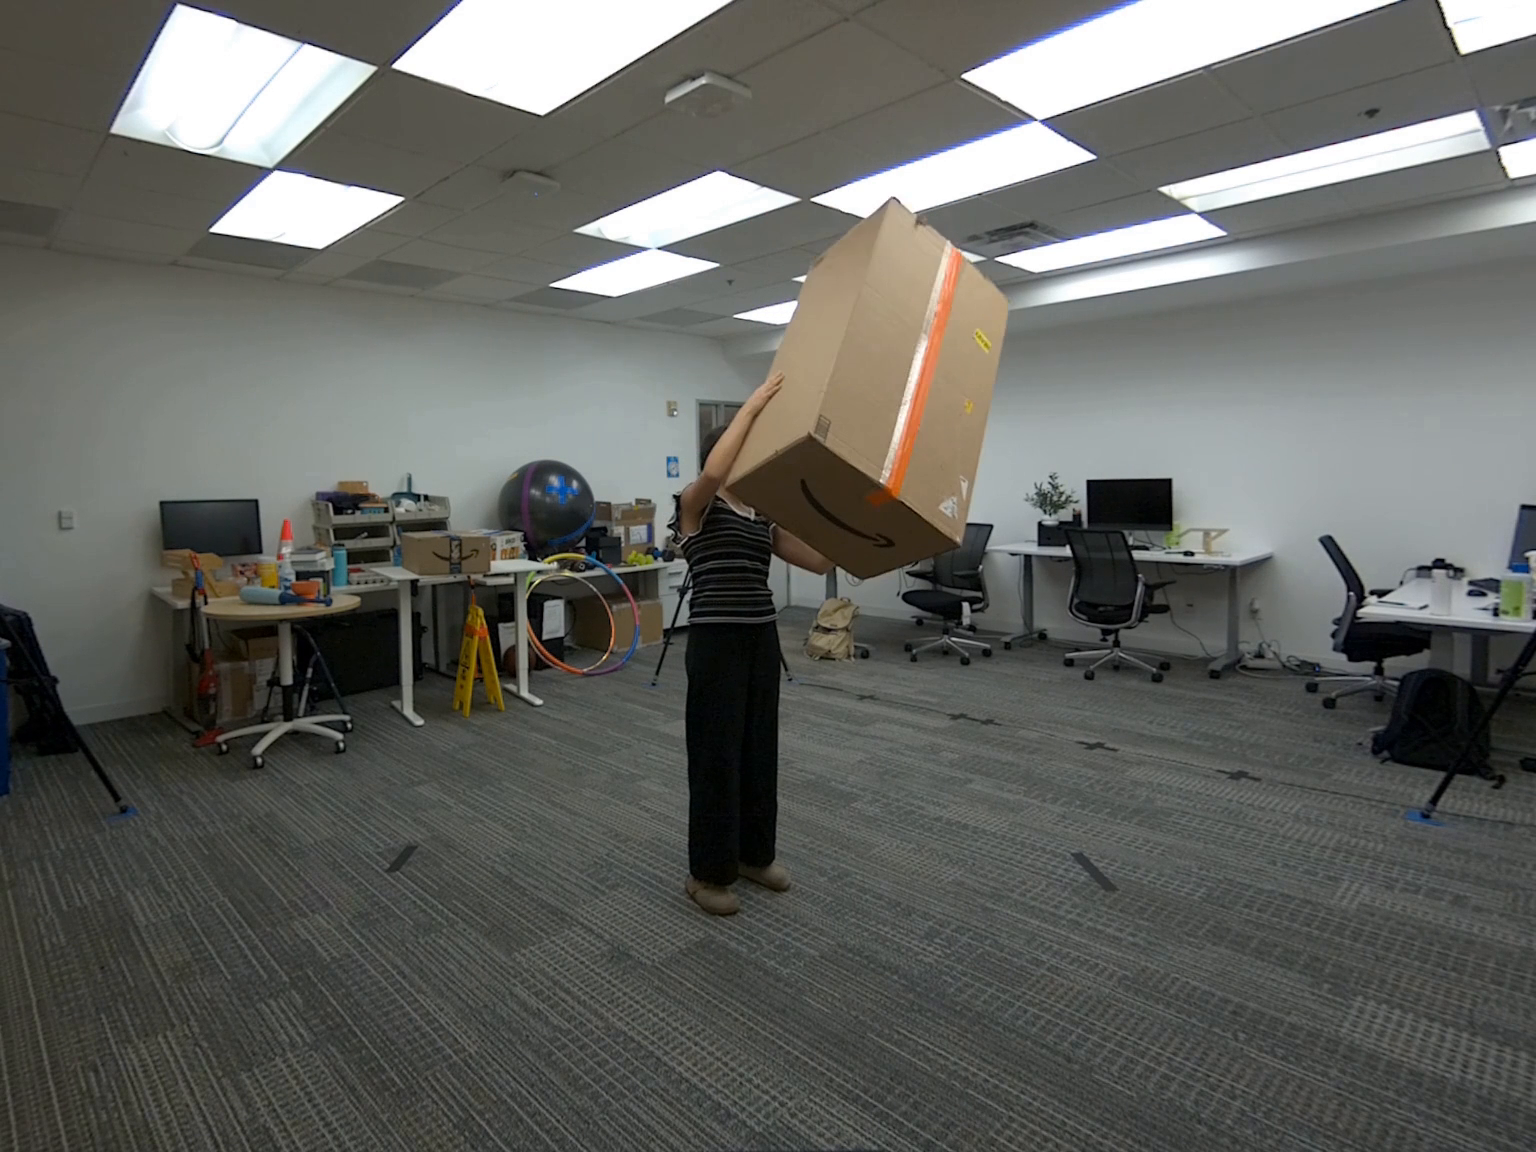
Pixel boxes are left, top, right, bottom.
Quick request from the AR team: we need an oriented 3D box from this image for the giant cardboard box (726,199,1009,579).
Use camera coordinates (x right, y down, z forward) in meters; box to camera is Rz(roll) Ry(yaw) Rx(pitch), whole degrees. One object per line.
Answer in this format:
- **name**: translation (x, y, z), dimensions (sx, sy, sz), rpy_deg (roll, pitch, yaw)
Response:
- **giant cardboard box**: translation (0.343, -0.597, 2.722), dimensions (0.562, 1.040, 0.432), rpy_deg (32, -32, -23)
